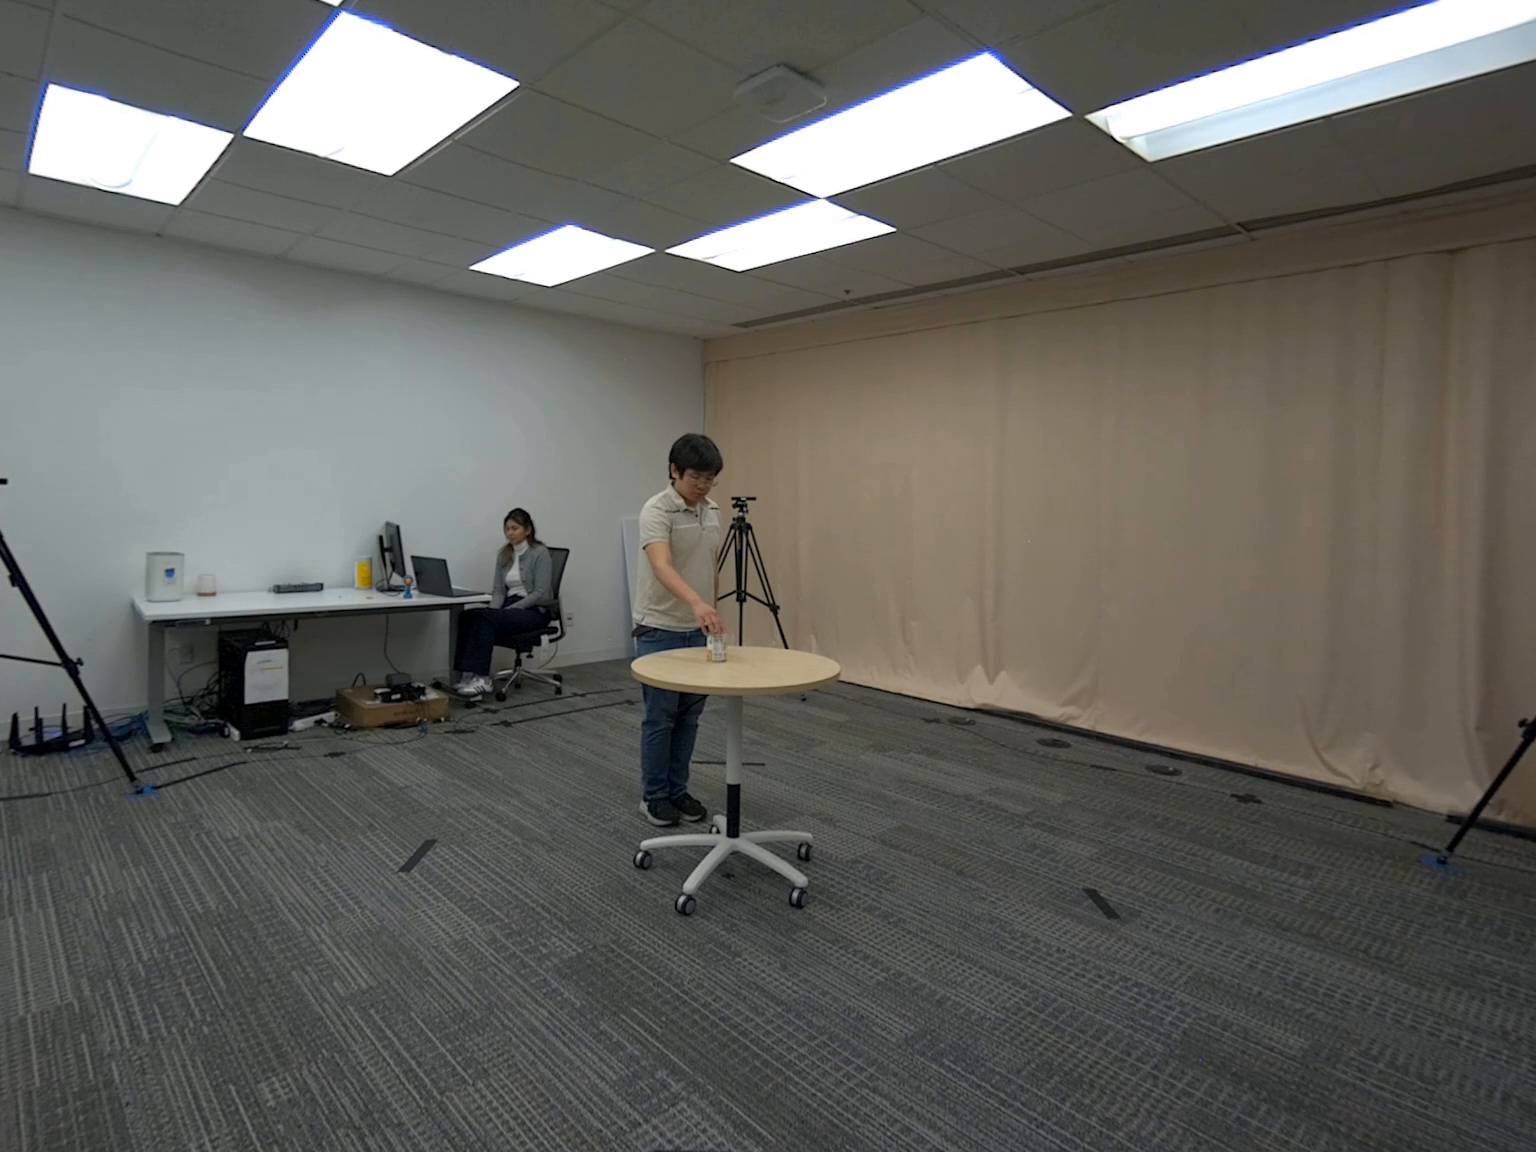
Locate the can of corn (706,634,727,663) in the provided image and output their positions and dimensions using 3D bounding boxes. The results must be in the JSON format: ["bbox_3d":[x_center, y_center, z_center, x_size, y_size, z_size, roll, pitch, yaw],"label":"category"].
[{"bbox_3d":[-0.201,0.266,3.148,0.074,0.111,0.074,0,4,-1],"label":"can of corn"}]
